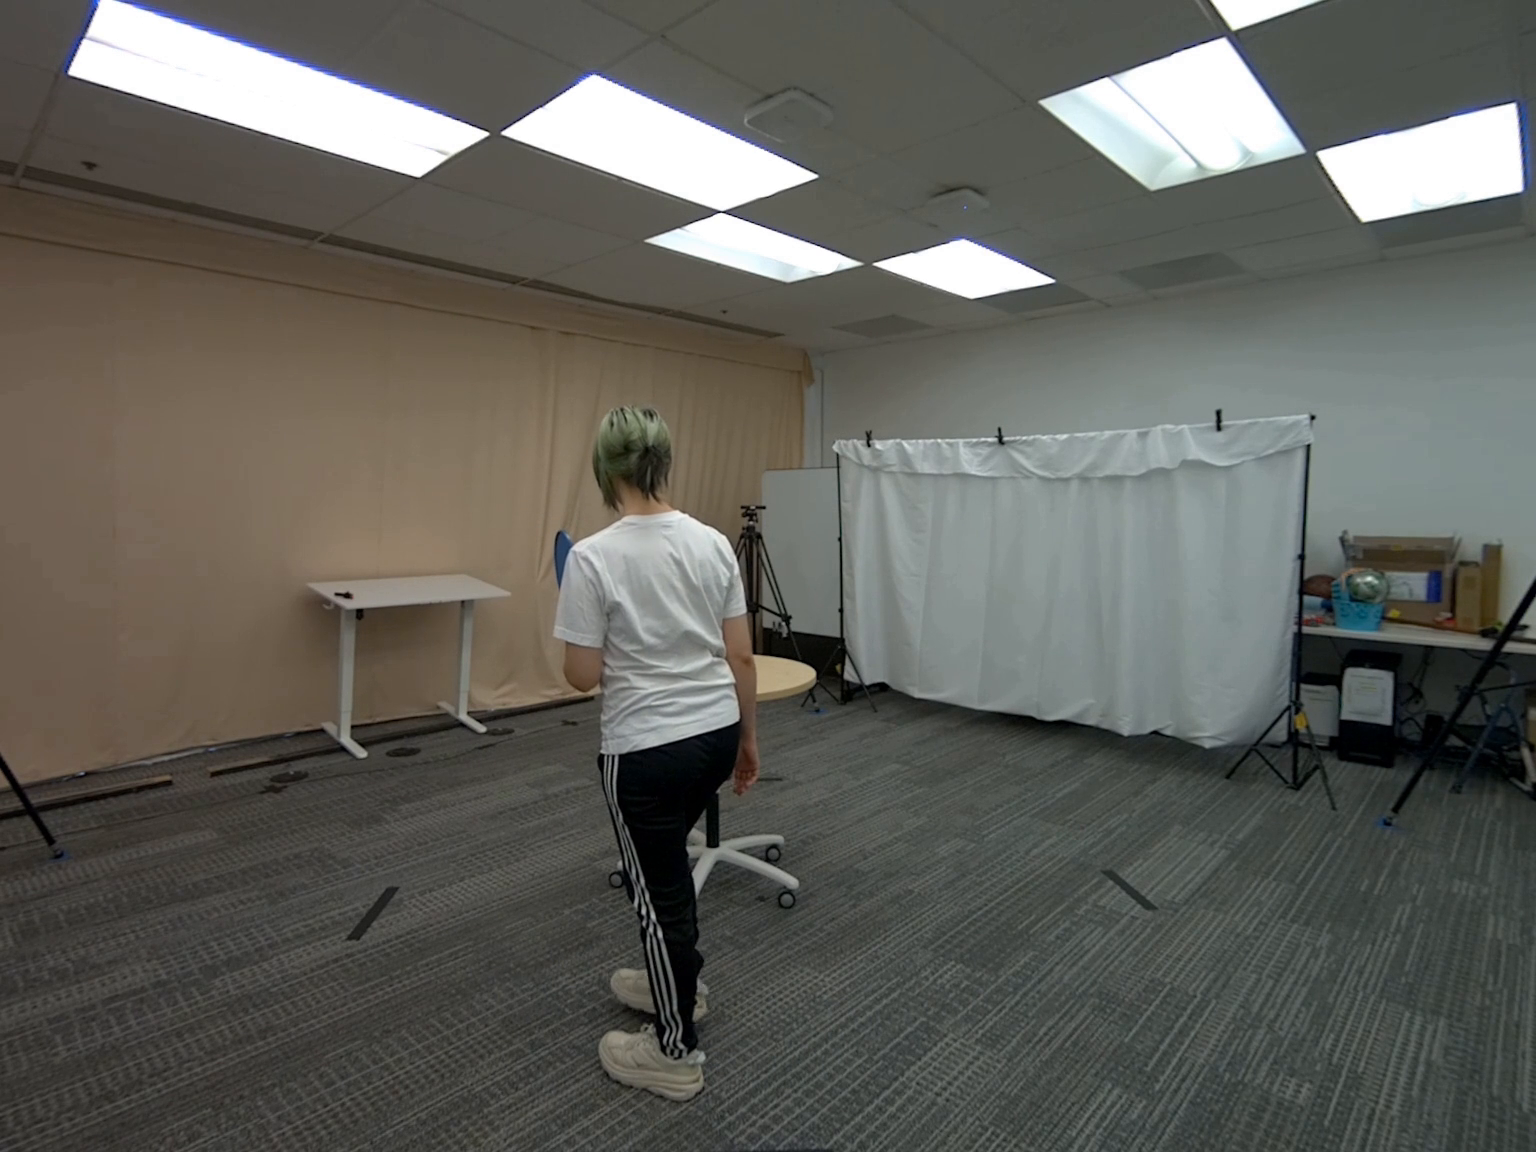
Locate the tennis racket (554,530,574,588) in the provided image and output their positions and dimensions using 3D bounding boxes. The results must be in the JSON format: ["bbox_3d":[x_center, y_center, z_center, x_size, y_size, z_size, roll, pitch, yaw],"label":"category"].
[{"bbox_3d":[-0.506,0.054,2.269,0.031,0.445,0.212,-7,-39,-23],"label":"tennis racket"}]
